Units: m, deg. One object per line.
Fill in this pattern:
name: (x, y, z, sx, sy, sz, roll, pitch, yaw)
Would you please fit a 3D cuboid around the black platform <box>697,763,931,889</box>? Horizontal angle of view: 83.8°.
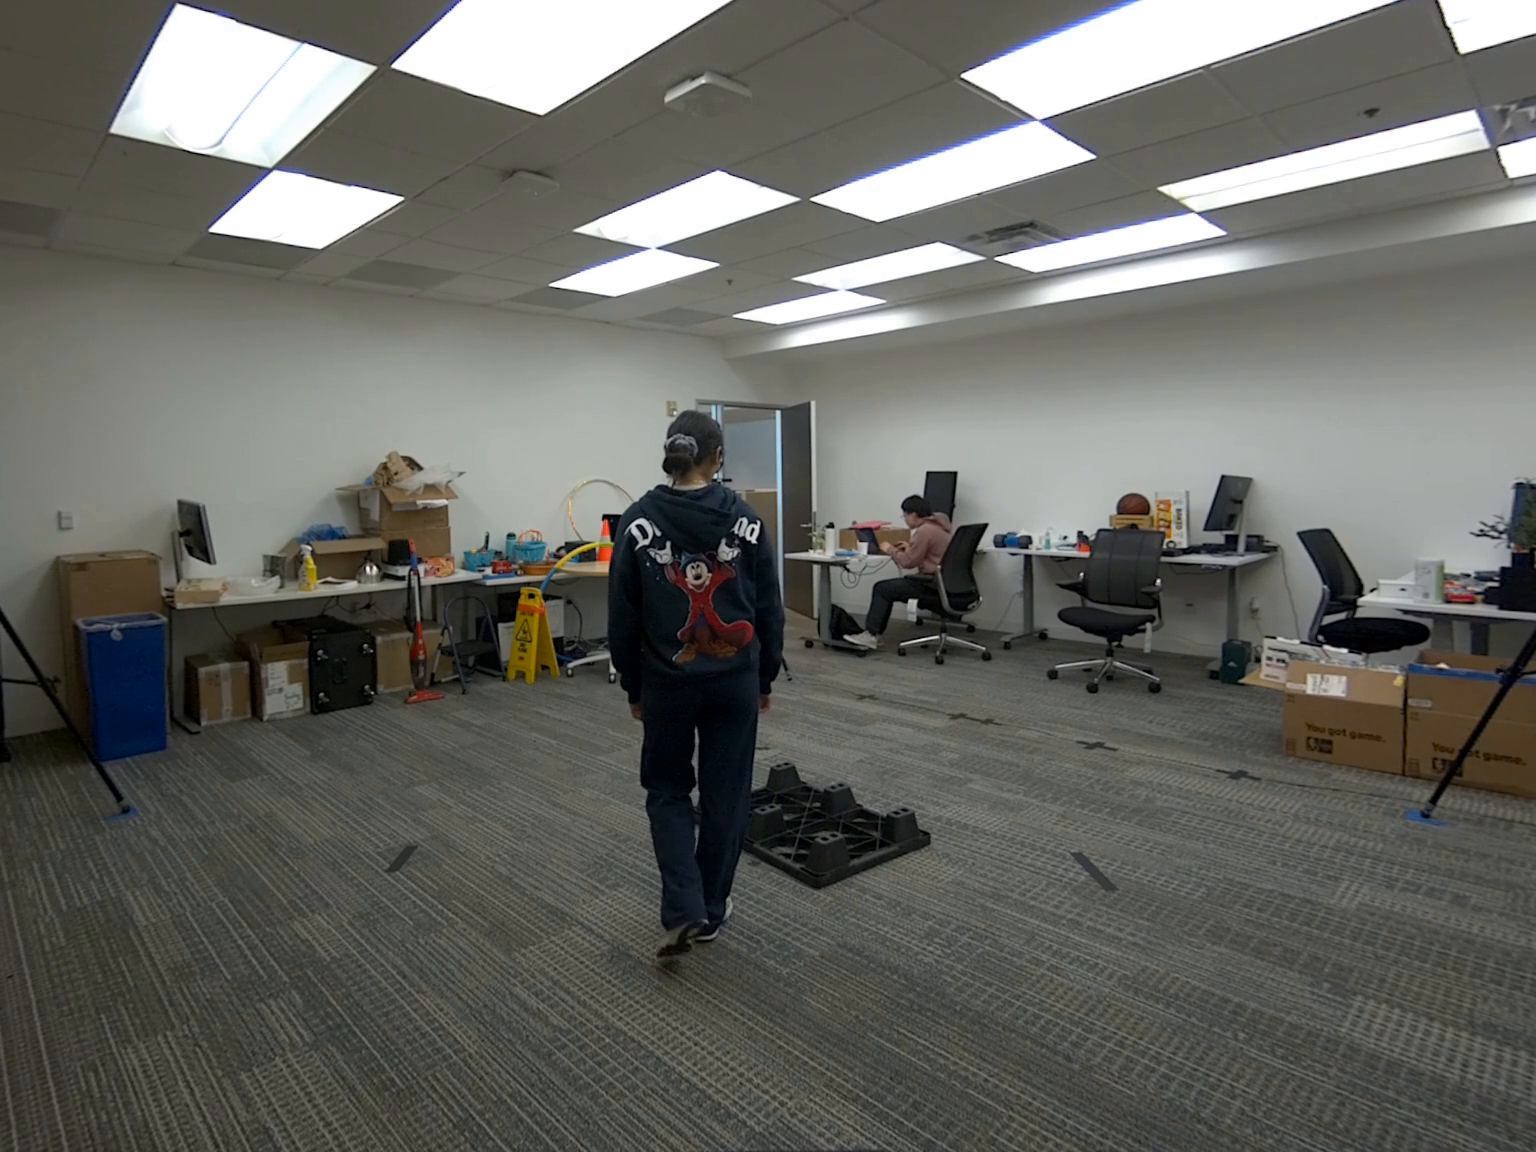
black platform: (0.135, 0.938, 3.379, 0.589, 0.143, 0.830, -5, 7, -38)
